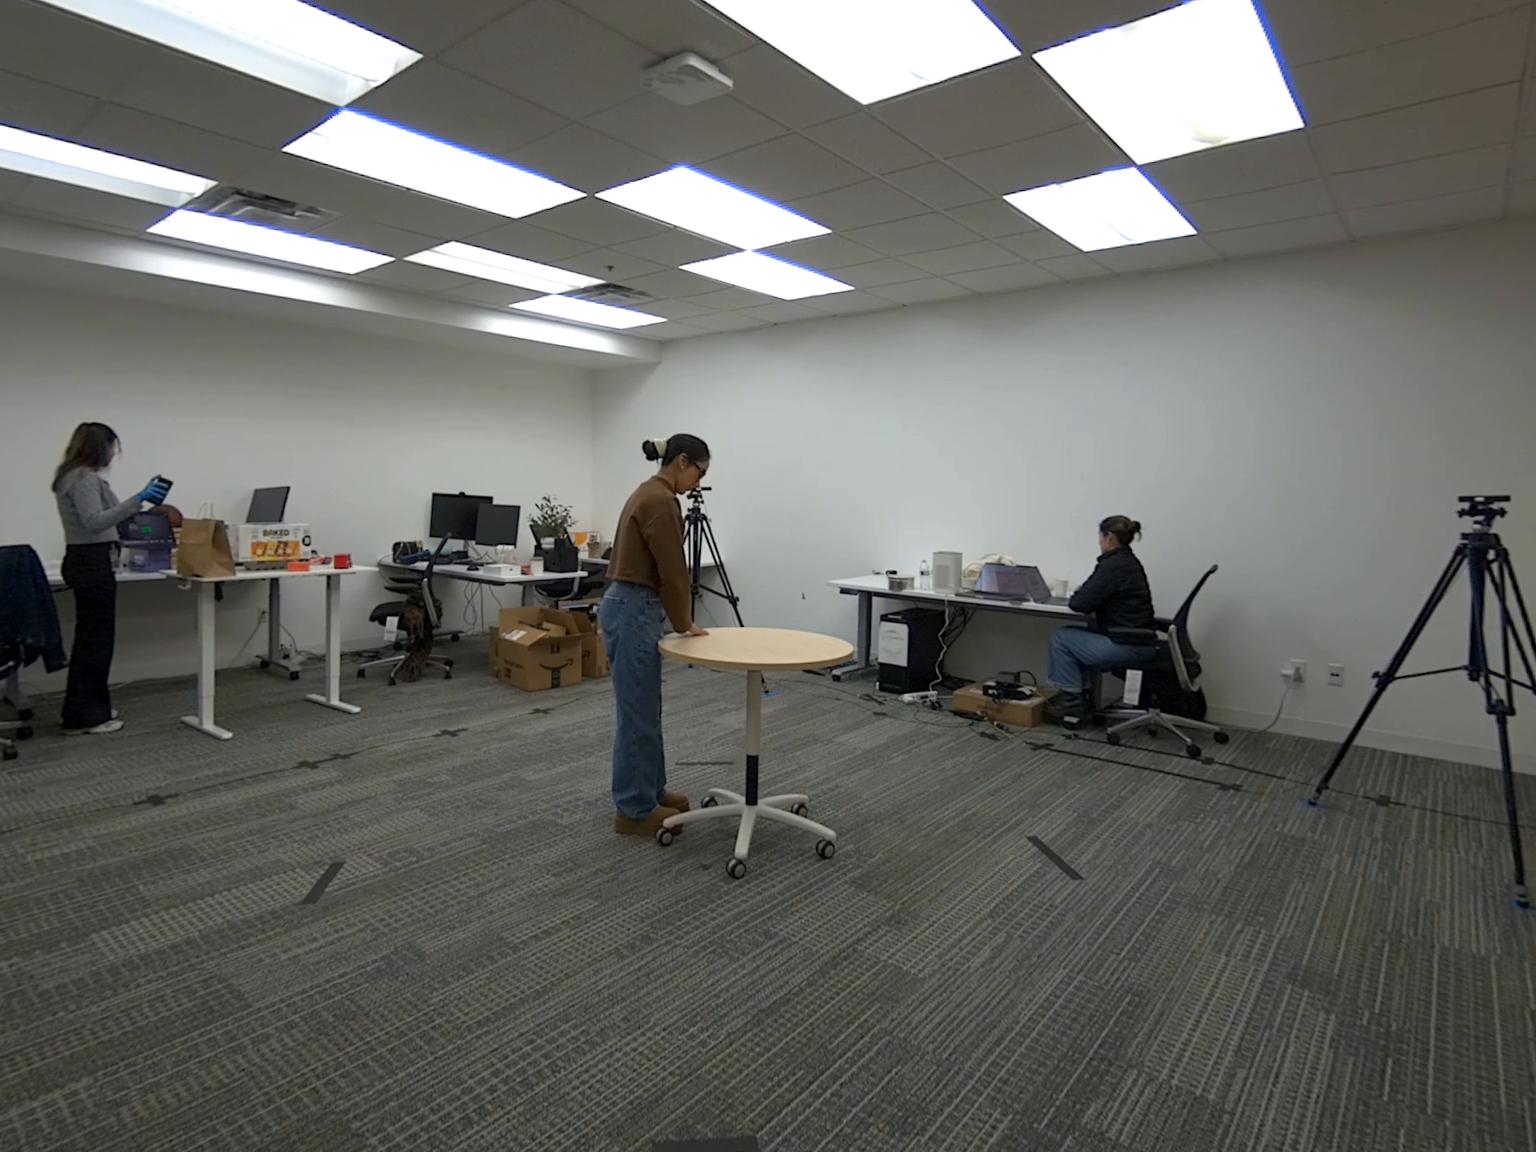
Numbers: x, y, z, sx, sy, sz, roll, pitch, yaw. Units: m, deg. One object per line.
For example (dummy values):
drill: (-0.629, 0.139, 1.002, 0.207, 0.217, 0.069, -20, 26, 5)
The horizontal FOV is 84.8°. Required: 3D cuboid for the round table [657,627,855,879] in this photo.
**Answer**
round table: (-0.067, 0.656, 3.363, 0.763, 0.791, 0.768, 1, 4, -2)
